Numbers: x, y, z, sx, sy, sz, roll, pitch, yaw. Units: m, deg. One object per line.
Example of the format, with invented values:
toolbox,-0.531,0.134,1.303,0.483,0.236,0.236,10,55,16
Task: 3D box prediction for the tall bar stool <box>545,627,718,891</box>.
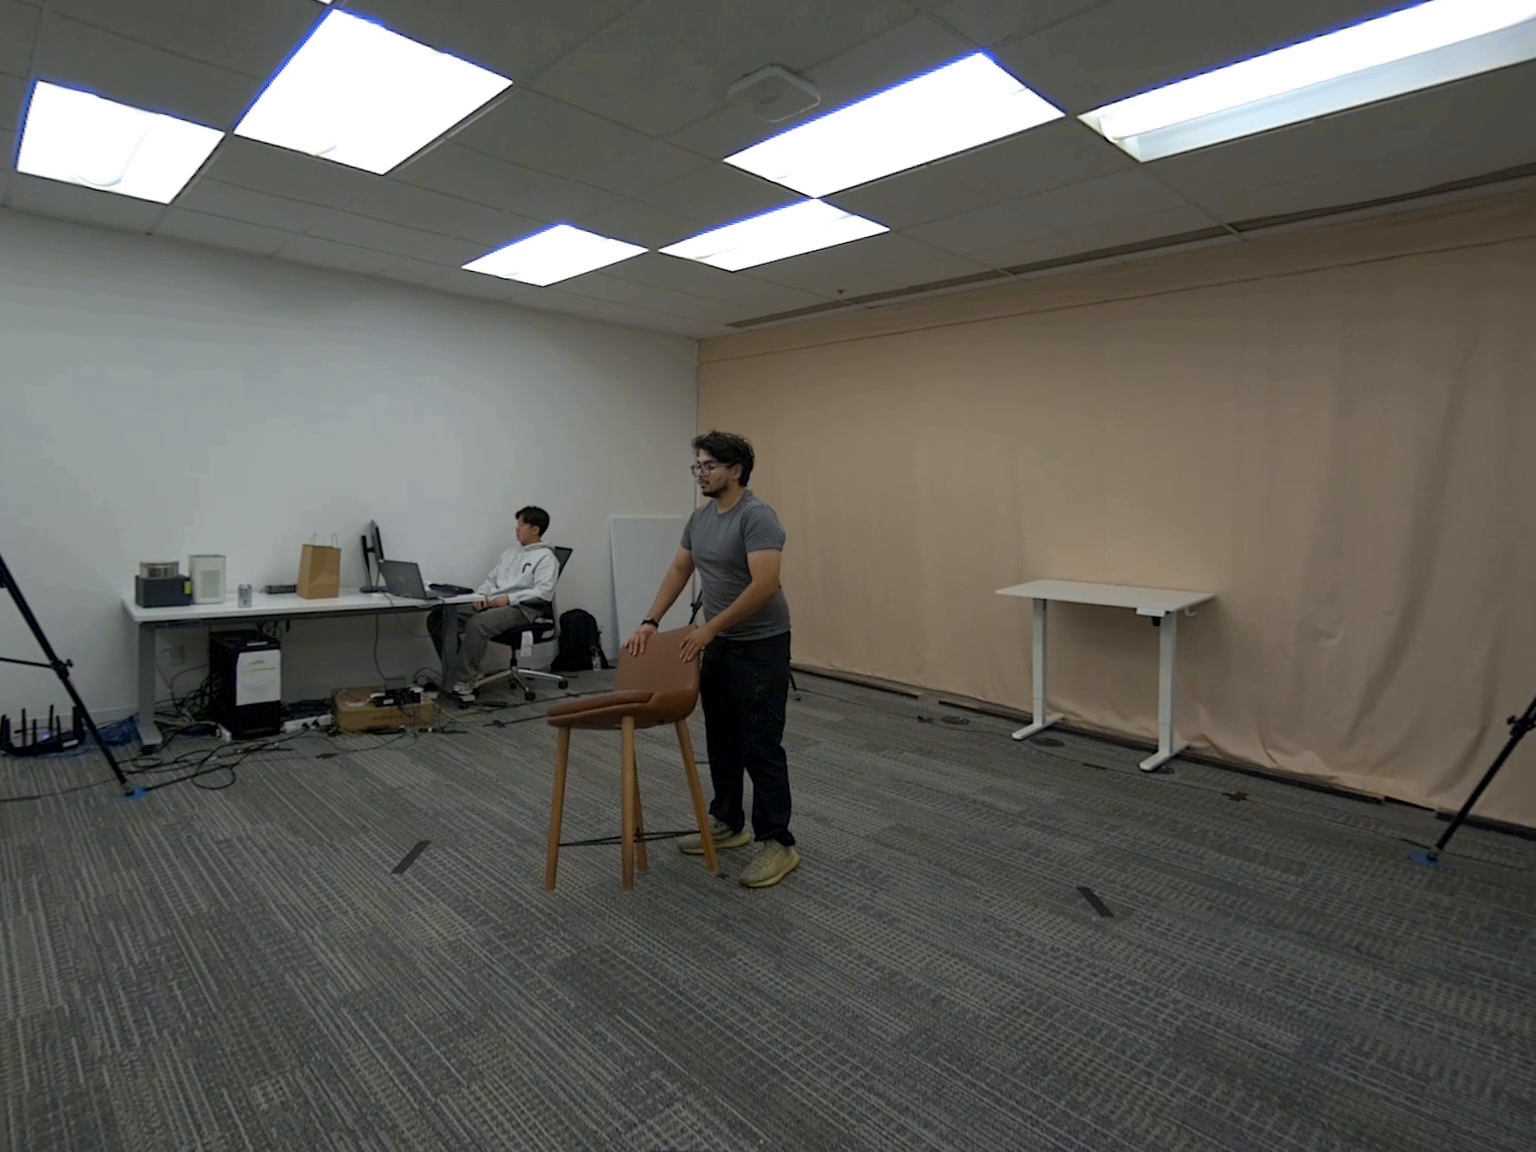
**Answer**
tall bar stool,-0.493,0.614,2.968,0.464,0.901,0.454,-16,-20,37
